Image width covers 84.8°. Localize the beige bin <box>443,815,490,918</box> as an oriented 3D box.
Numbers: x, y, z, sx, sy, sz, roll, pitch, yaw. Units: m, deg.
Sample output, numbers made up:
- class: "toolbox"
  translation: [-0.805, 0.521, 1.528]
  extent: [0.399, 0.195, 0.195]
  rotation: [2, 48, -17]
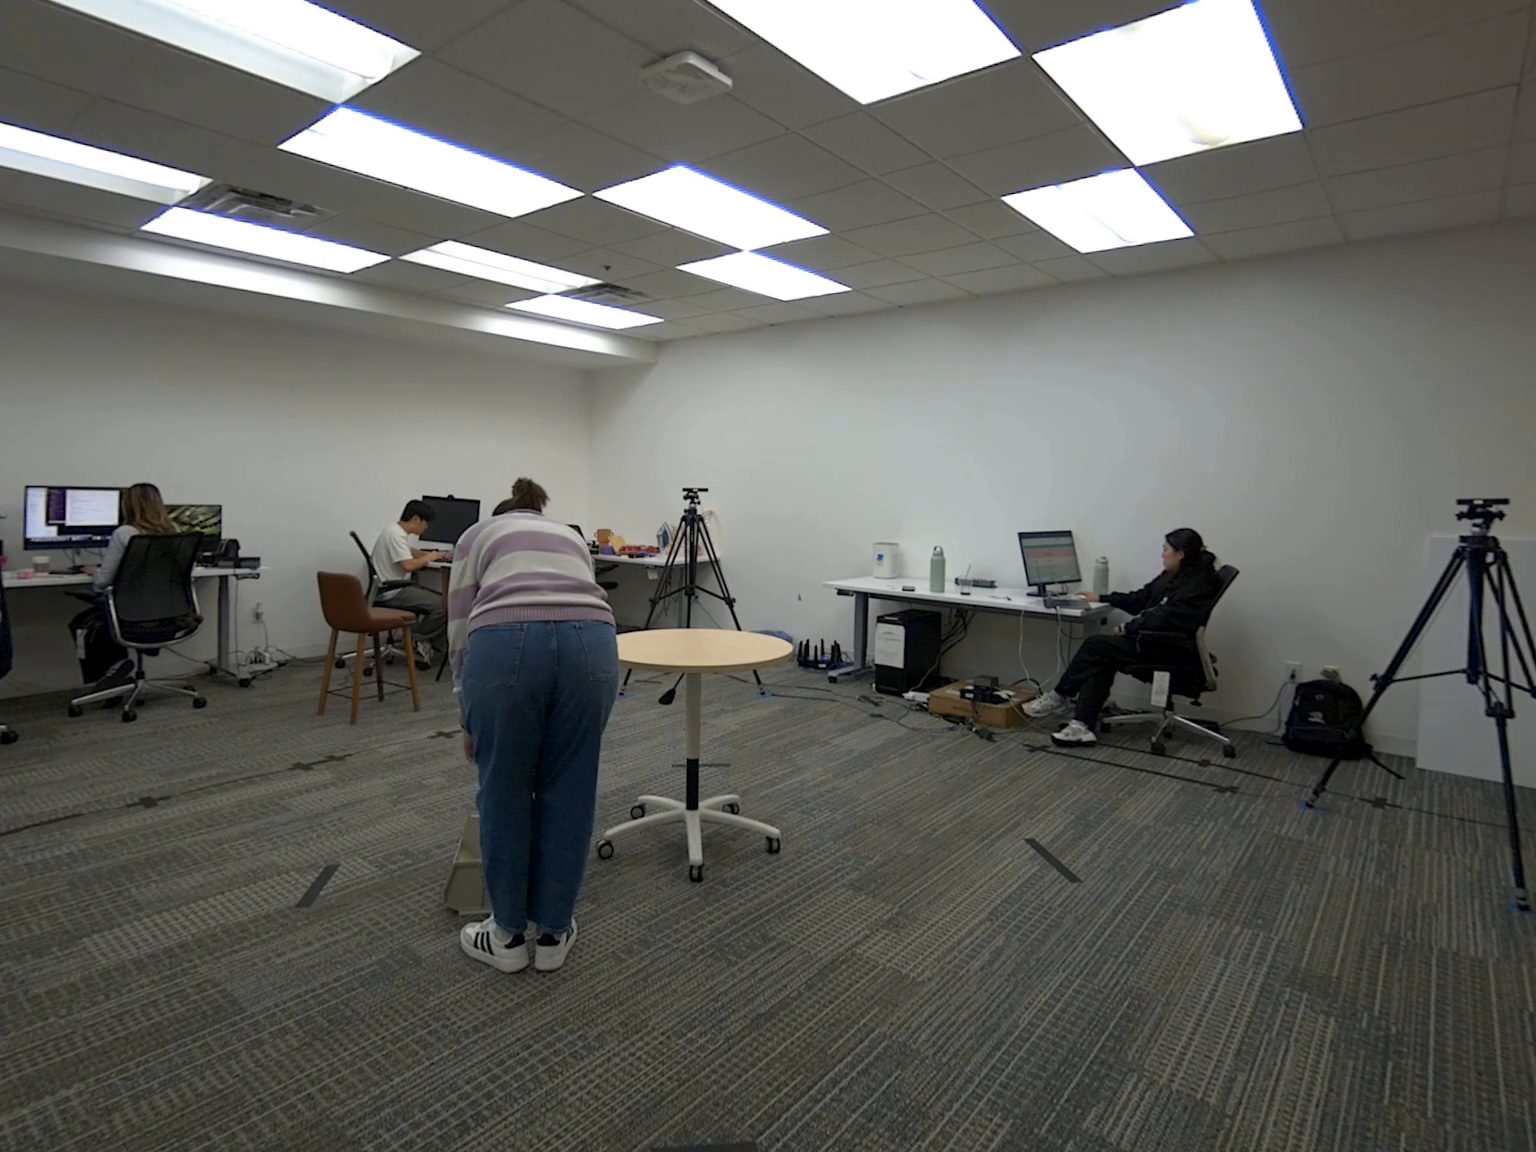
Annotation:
- class: "beige bin"
  translation: [-0.917, 0.982, 2.960]
  extent: [0.373, 0.188, 0.428]
  rotation: [1, 4, -11]
